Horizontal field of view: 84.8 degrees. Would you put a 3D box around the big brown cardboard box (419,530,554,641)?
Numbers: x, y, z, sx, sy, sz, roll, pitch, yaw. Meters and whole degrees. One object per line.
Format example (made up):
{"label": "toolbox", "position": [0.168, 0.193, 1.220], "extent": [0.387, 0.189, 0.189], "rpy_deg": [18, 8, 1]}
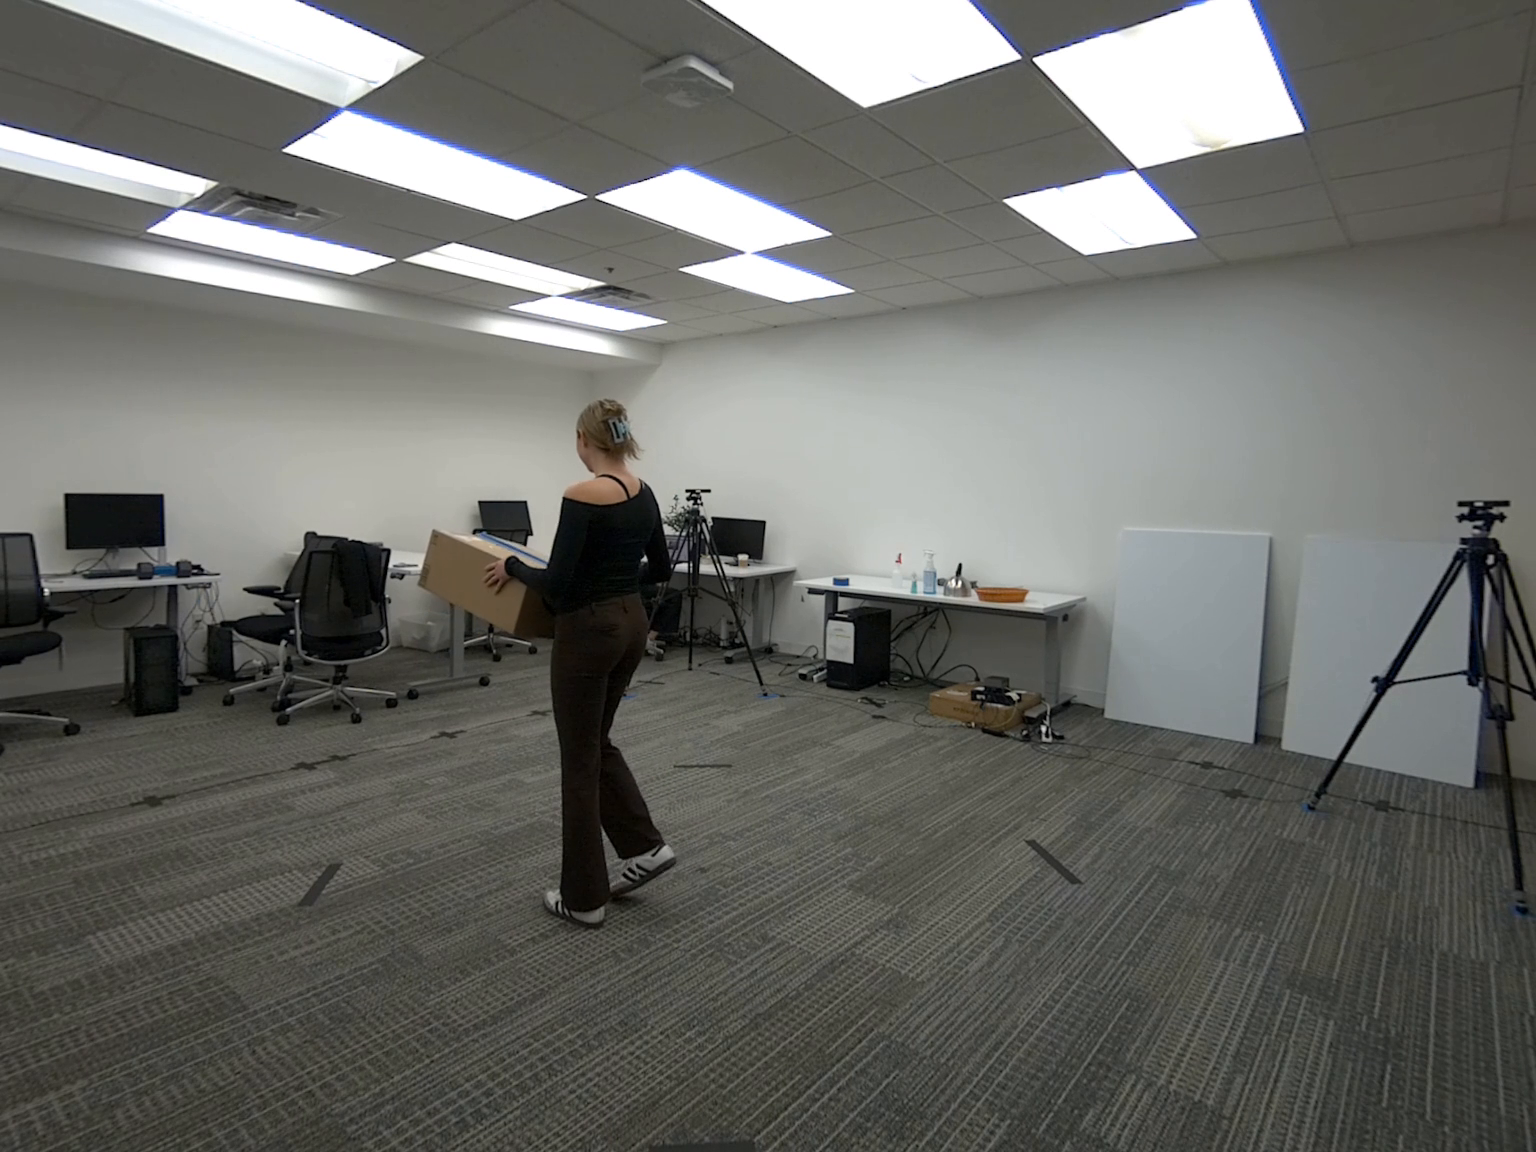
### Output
{"label": "big brown cardboard box", "position": [-0.904, 0.030, 3.043], "extent": [0.611, 0.232, 0.403], "rpy_deg": [20, 5, 34]}
